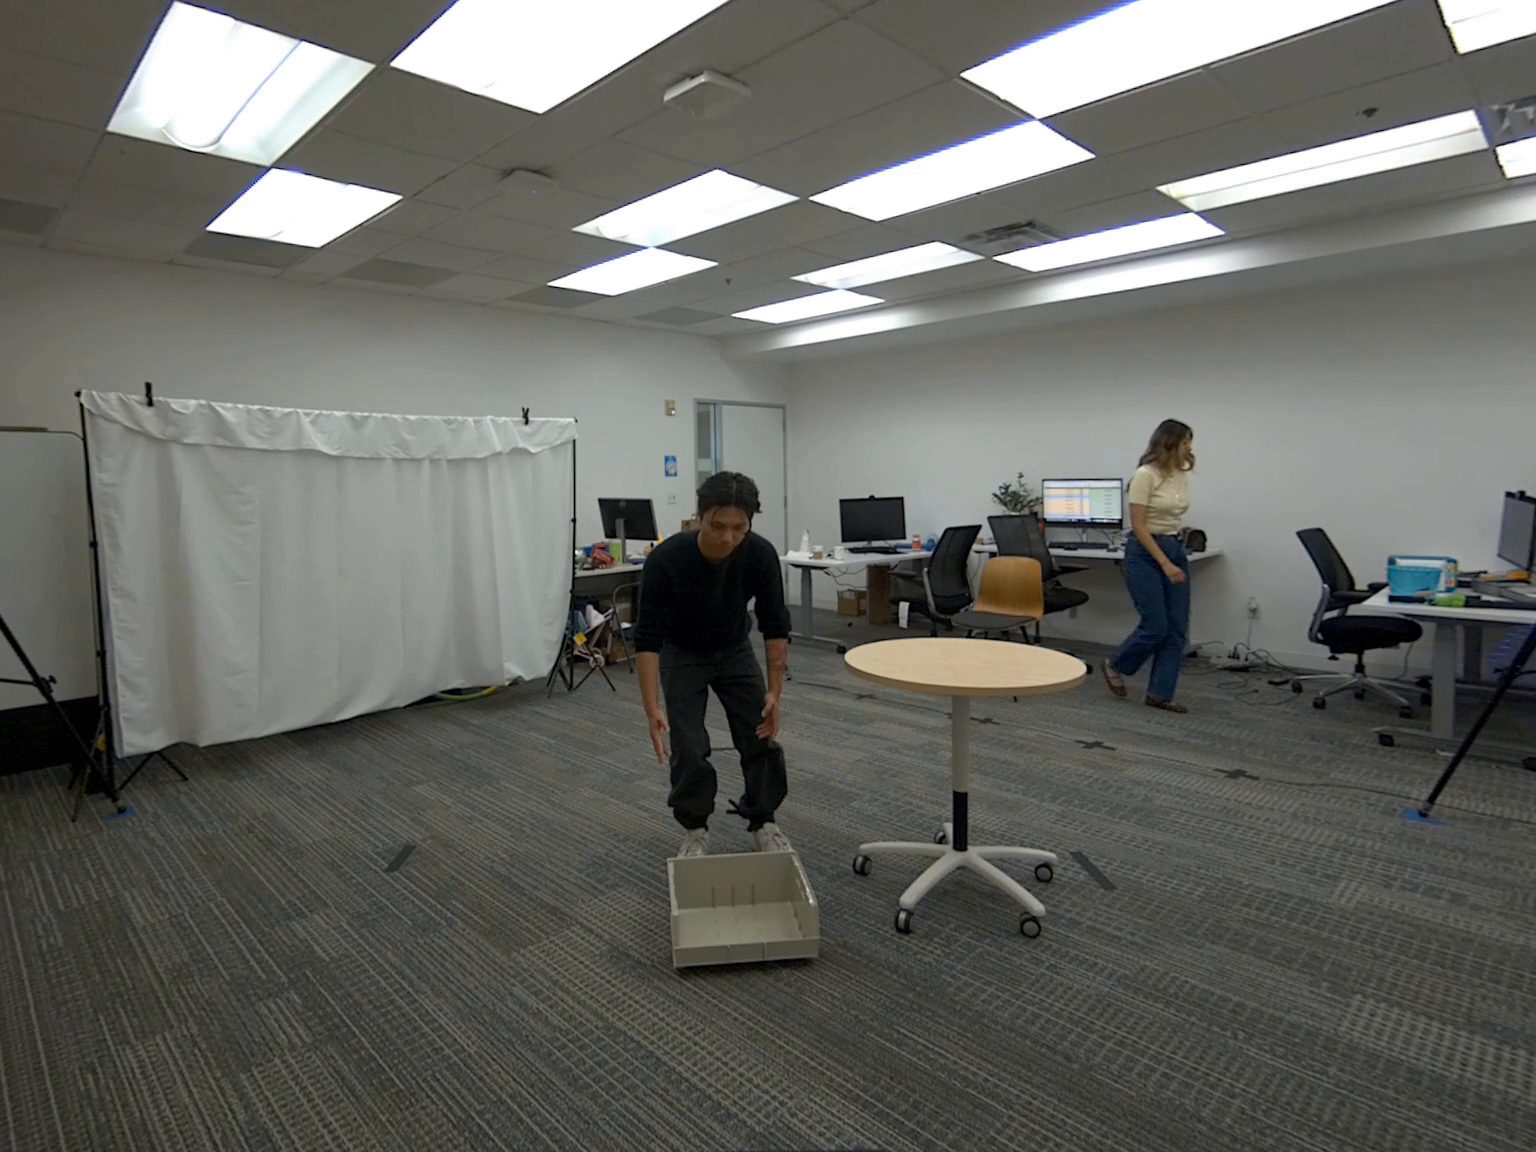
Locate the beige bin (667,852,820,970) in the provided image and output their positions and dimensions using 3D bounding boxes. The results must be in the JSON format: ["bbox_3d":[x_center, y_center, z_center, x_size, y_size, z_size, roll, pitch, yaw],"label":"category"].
[{"bbox_3d":[-0.086,1.022,2.592,0.420,0.188,0.381,-2,6,-7],"label":"beige bin"}]
